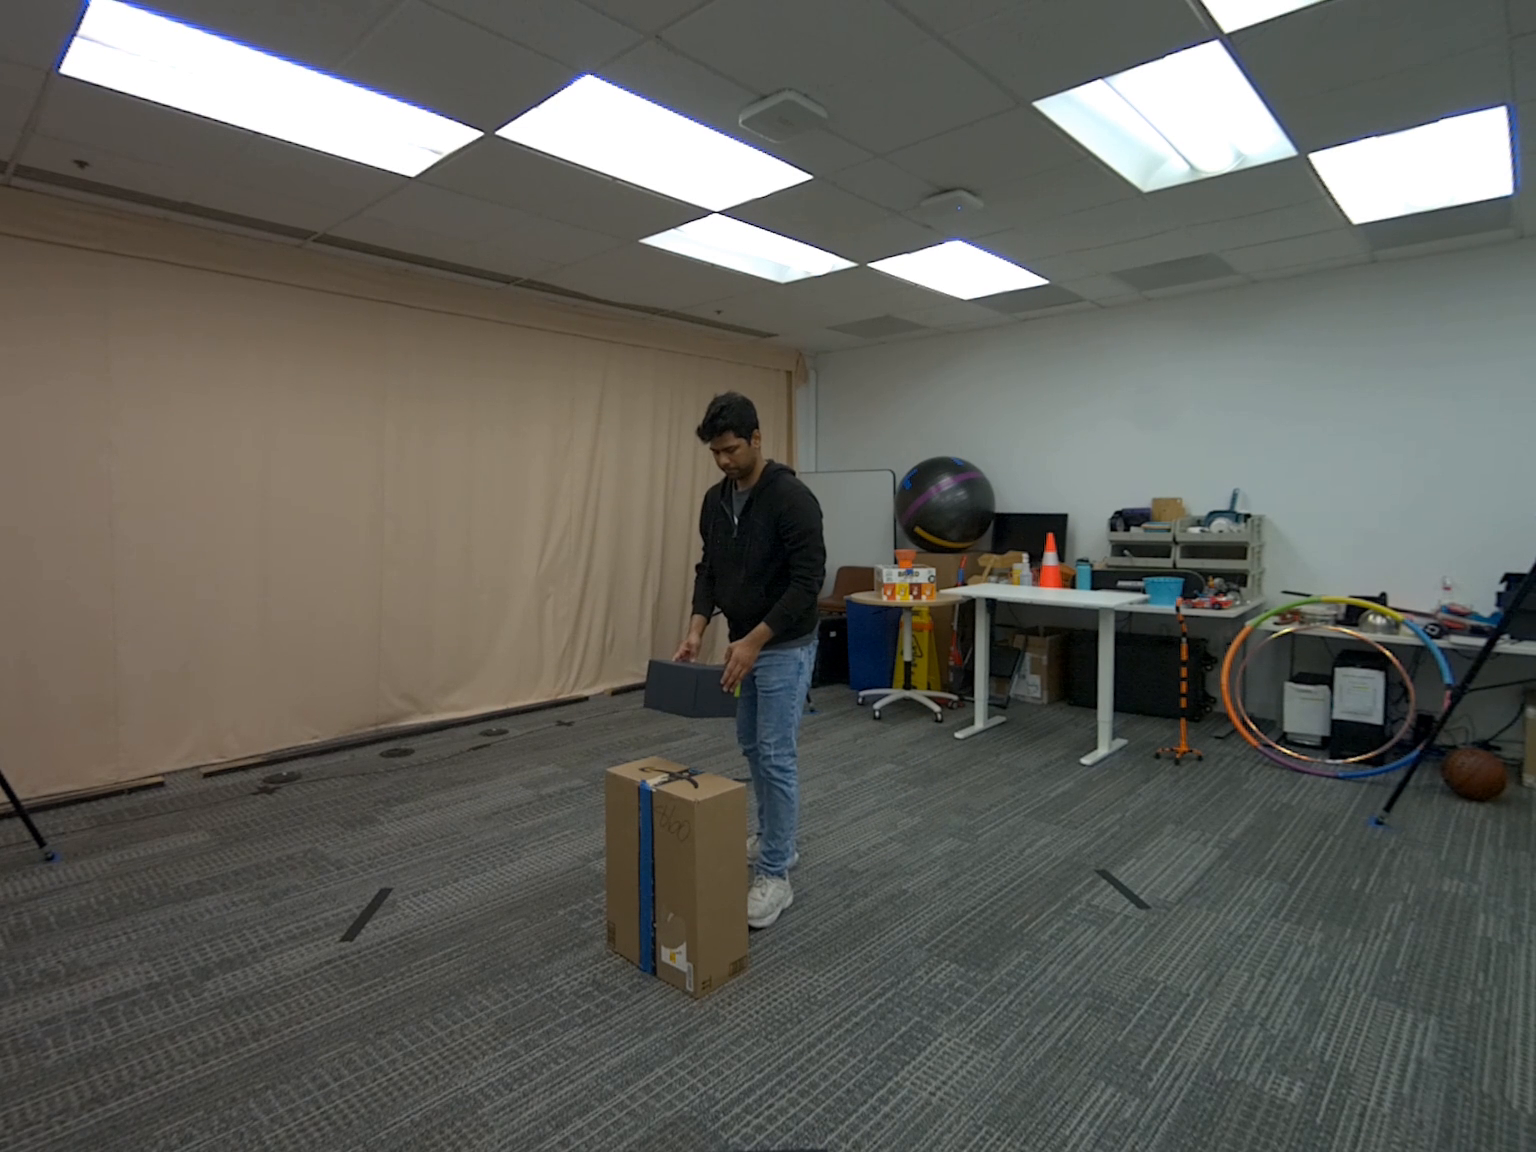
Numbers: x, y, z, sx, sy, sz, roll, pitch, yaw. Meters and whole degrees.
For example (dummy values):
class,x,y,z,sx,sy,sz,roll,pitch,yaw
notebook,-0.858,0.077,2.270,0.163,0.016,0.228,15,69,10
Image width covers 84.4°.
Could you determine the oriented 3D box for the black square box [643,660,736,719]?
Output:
class,x,y,z,sx,sy,sz,roll,pitch,yaw
black square box,-0.249,0.377,2.769,0.235,0.156,0.209,4,-4,40
